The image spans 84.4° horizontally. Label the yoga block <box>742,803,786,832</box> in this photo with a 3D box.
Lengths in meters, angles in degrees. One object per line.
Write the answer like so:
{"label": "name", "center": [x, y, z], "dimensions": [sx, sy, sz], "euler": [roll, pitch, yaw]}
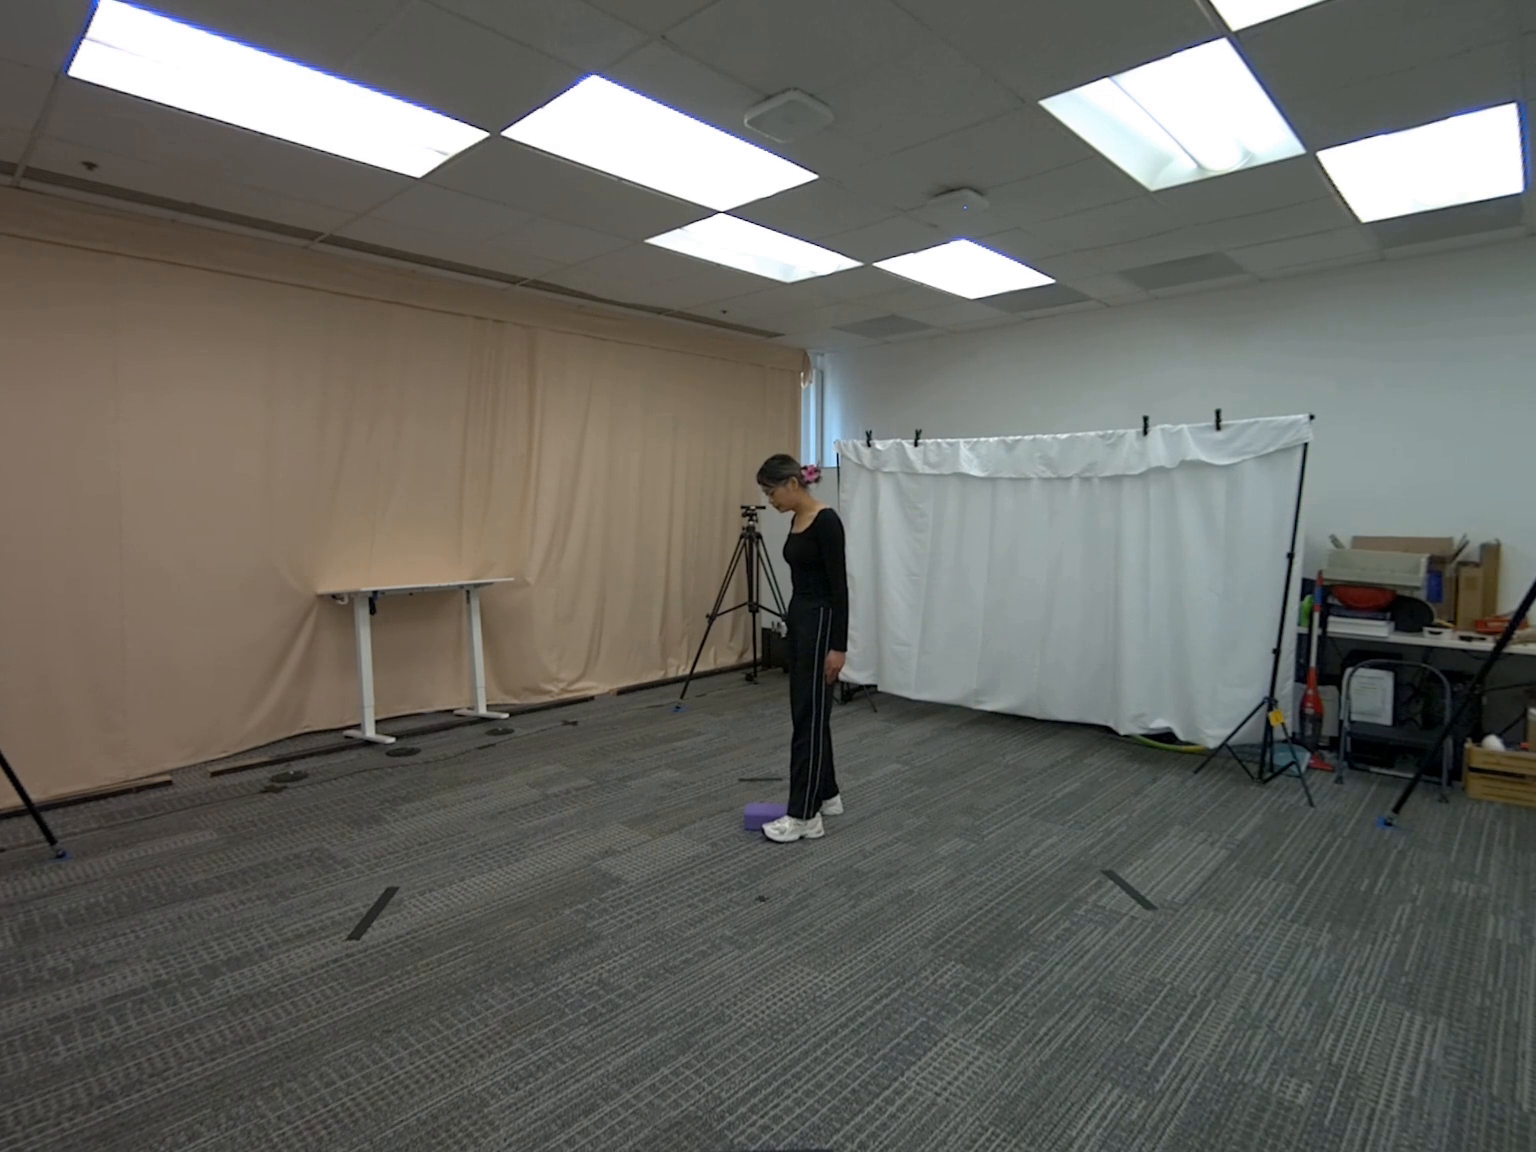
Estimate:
{"label": "yoga block", "center": [0.011, 1.051, 3.670], "dimensions": [0.230, 0.076, 0.149], "euler": [0, 5, 2]}
